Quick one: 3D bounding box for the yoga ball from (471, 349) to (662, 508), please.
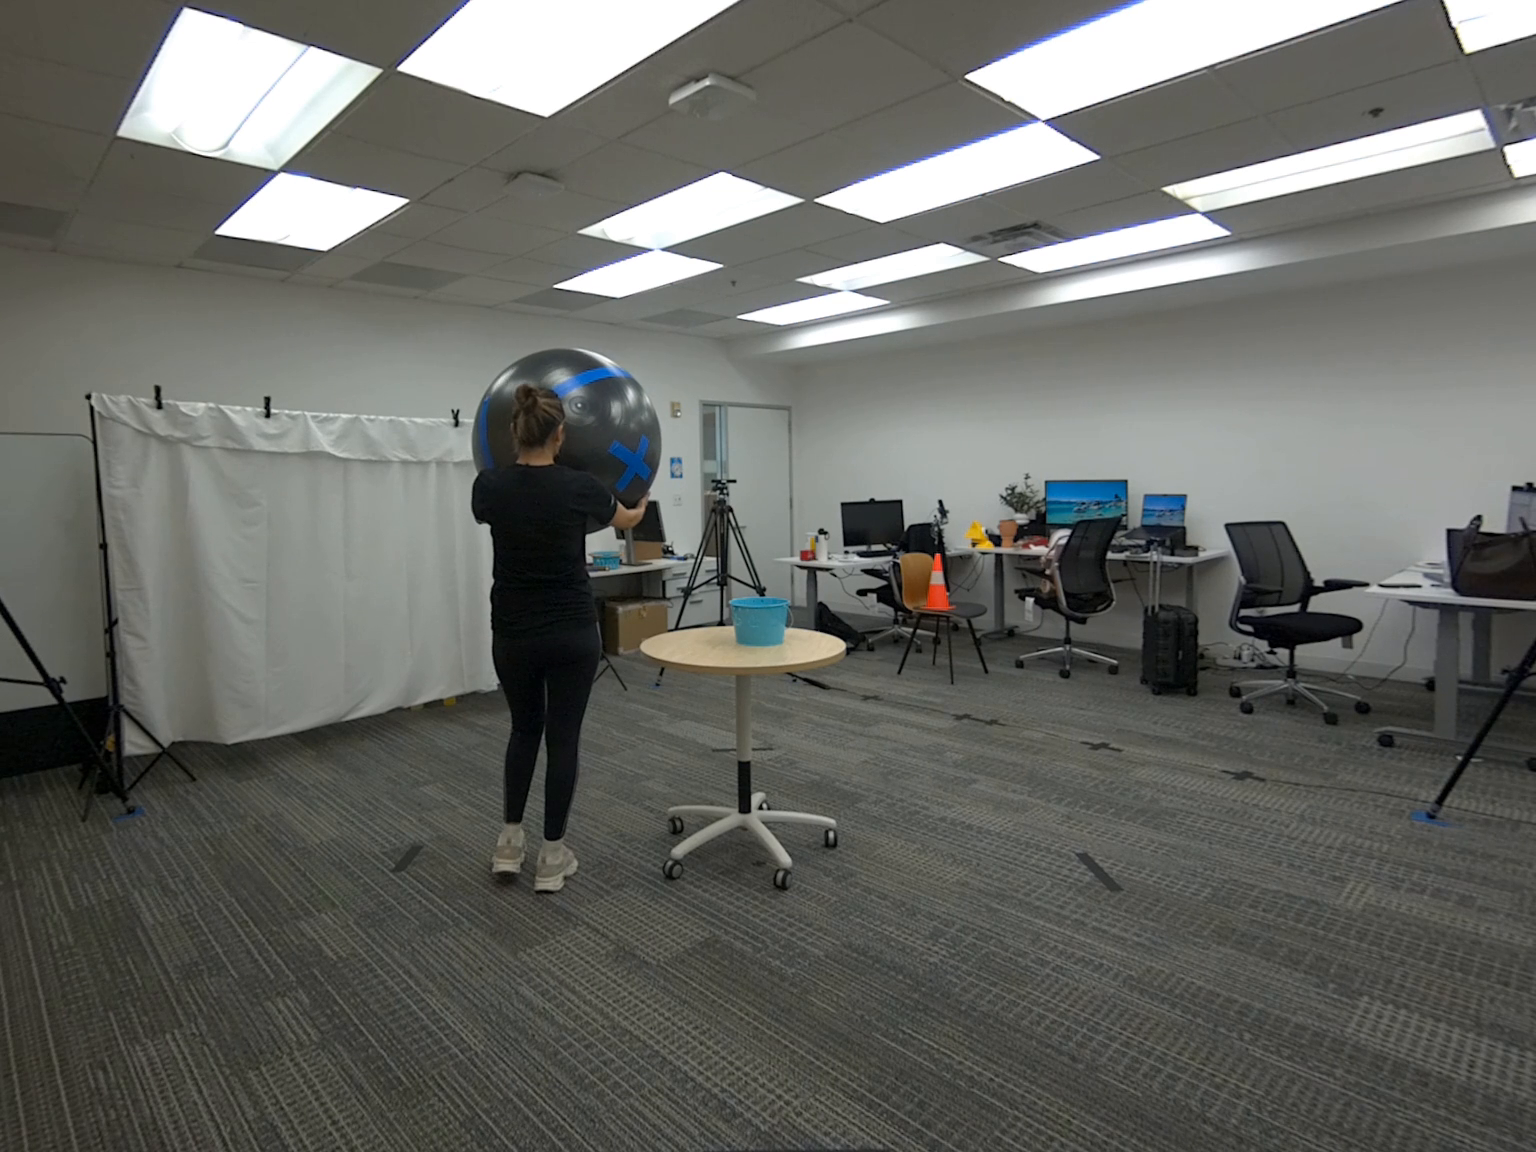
[{"bbox_3d":[-0.818,-0.524,3.483,0.757,0.755,0.762,-1,5,-2],"label":"yoga ball"}]
